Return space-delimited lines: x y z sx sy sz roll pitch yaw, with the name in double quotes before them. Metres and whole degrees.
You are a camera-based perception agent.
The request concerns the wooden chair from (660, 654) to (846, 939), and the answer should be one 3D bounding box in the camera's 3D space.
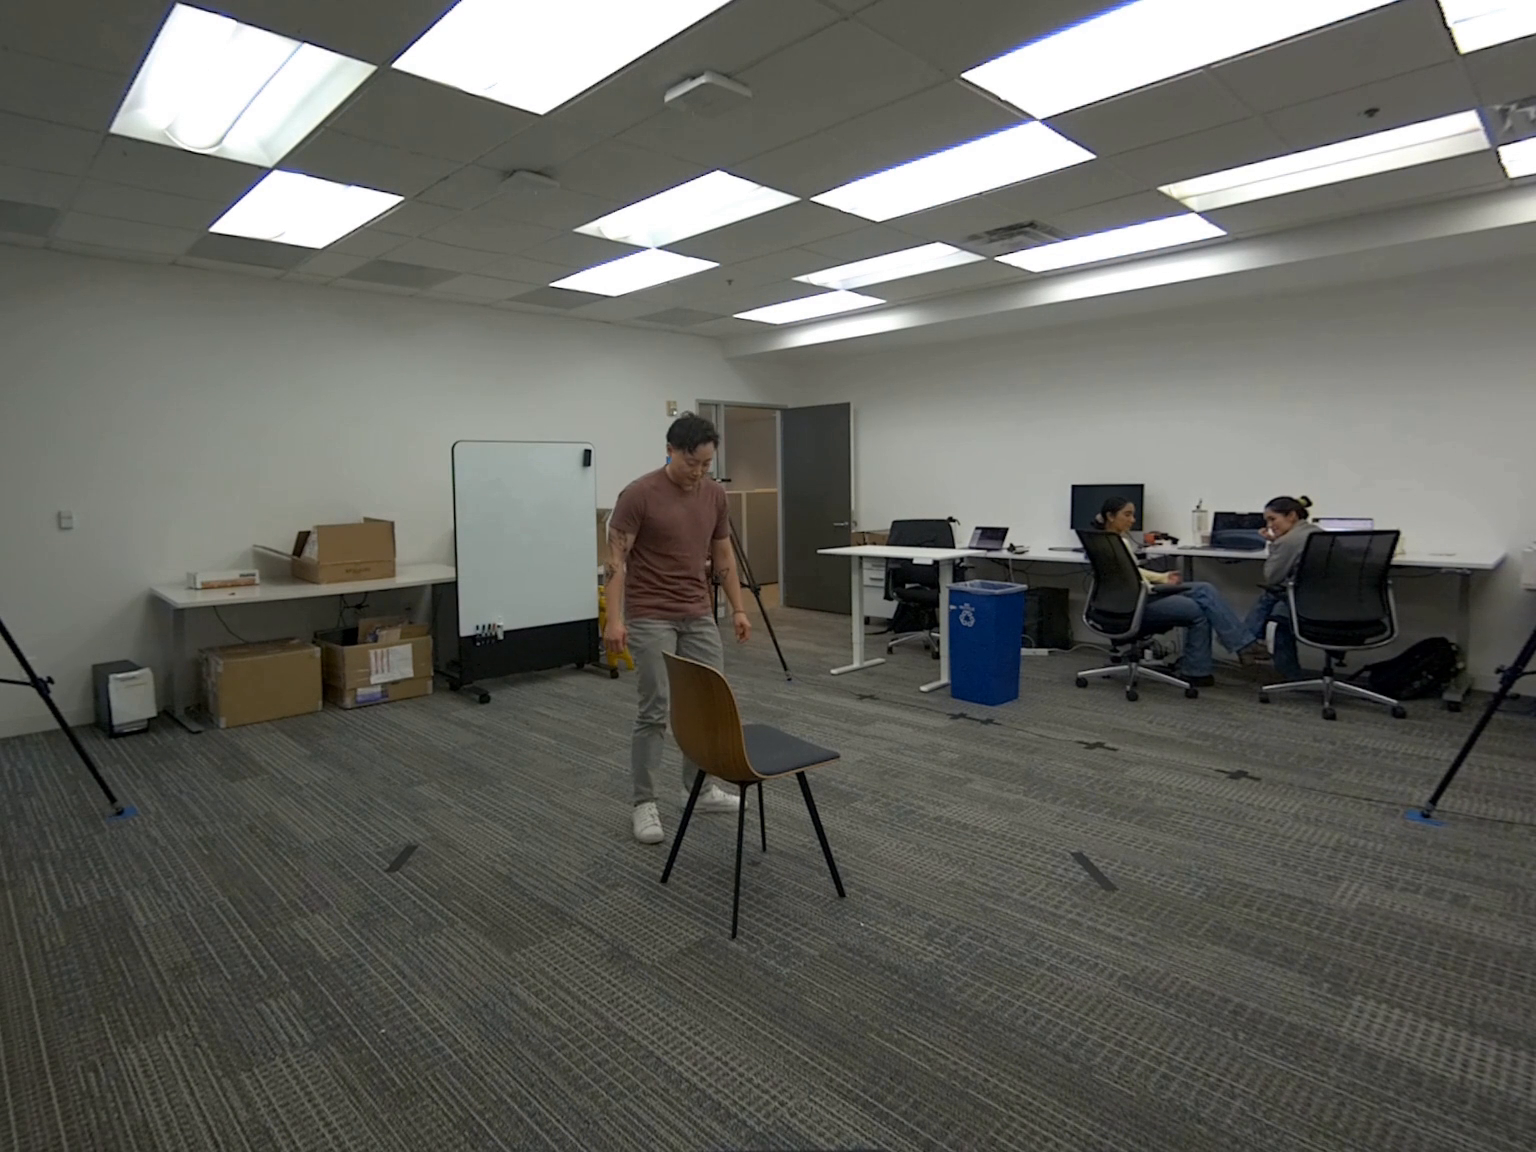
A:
"wooden chair" -0.052 0.643 2.876 0.511 0.872 0.492 -9 8 -35
